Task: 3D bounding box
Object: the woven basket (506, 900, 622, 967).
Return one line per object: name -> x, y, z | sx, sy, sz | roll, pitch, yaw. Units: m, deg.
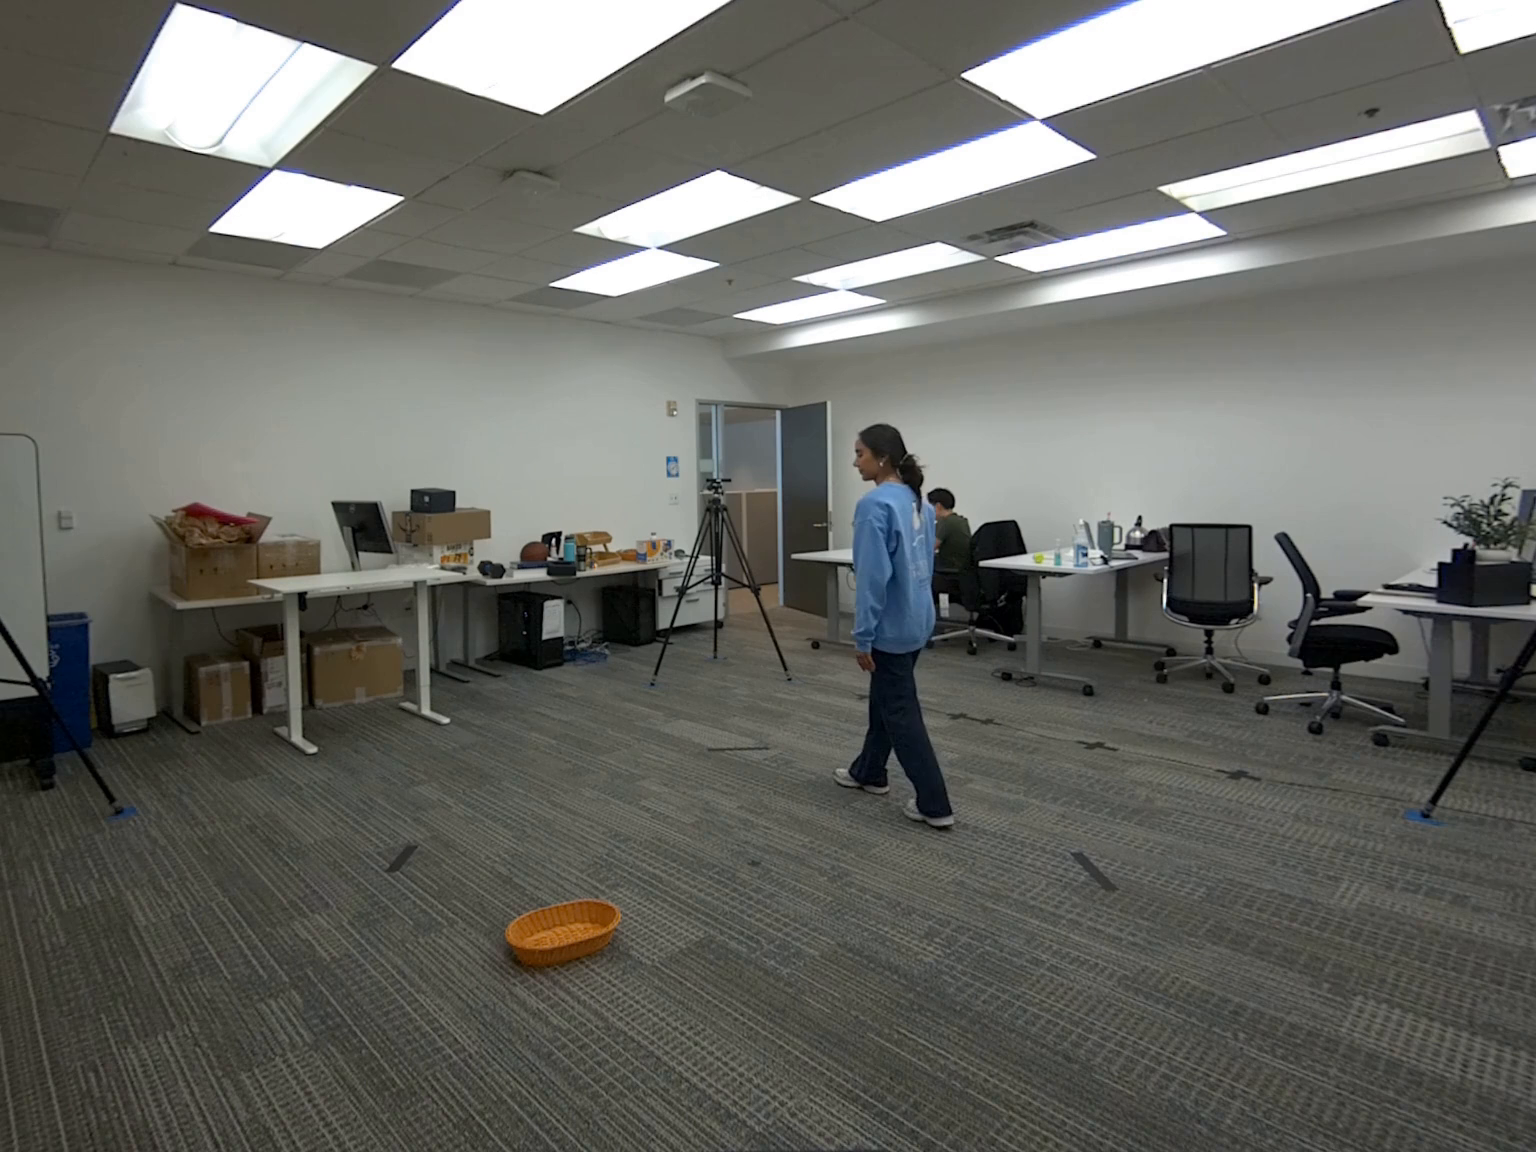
woven basket -> -0.611, 1.074, 2.582 | 0.343, 0.073, 0.258 | -4, 6, -25
